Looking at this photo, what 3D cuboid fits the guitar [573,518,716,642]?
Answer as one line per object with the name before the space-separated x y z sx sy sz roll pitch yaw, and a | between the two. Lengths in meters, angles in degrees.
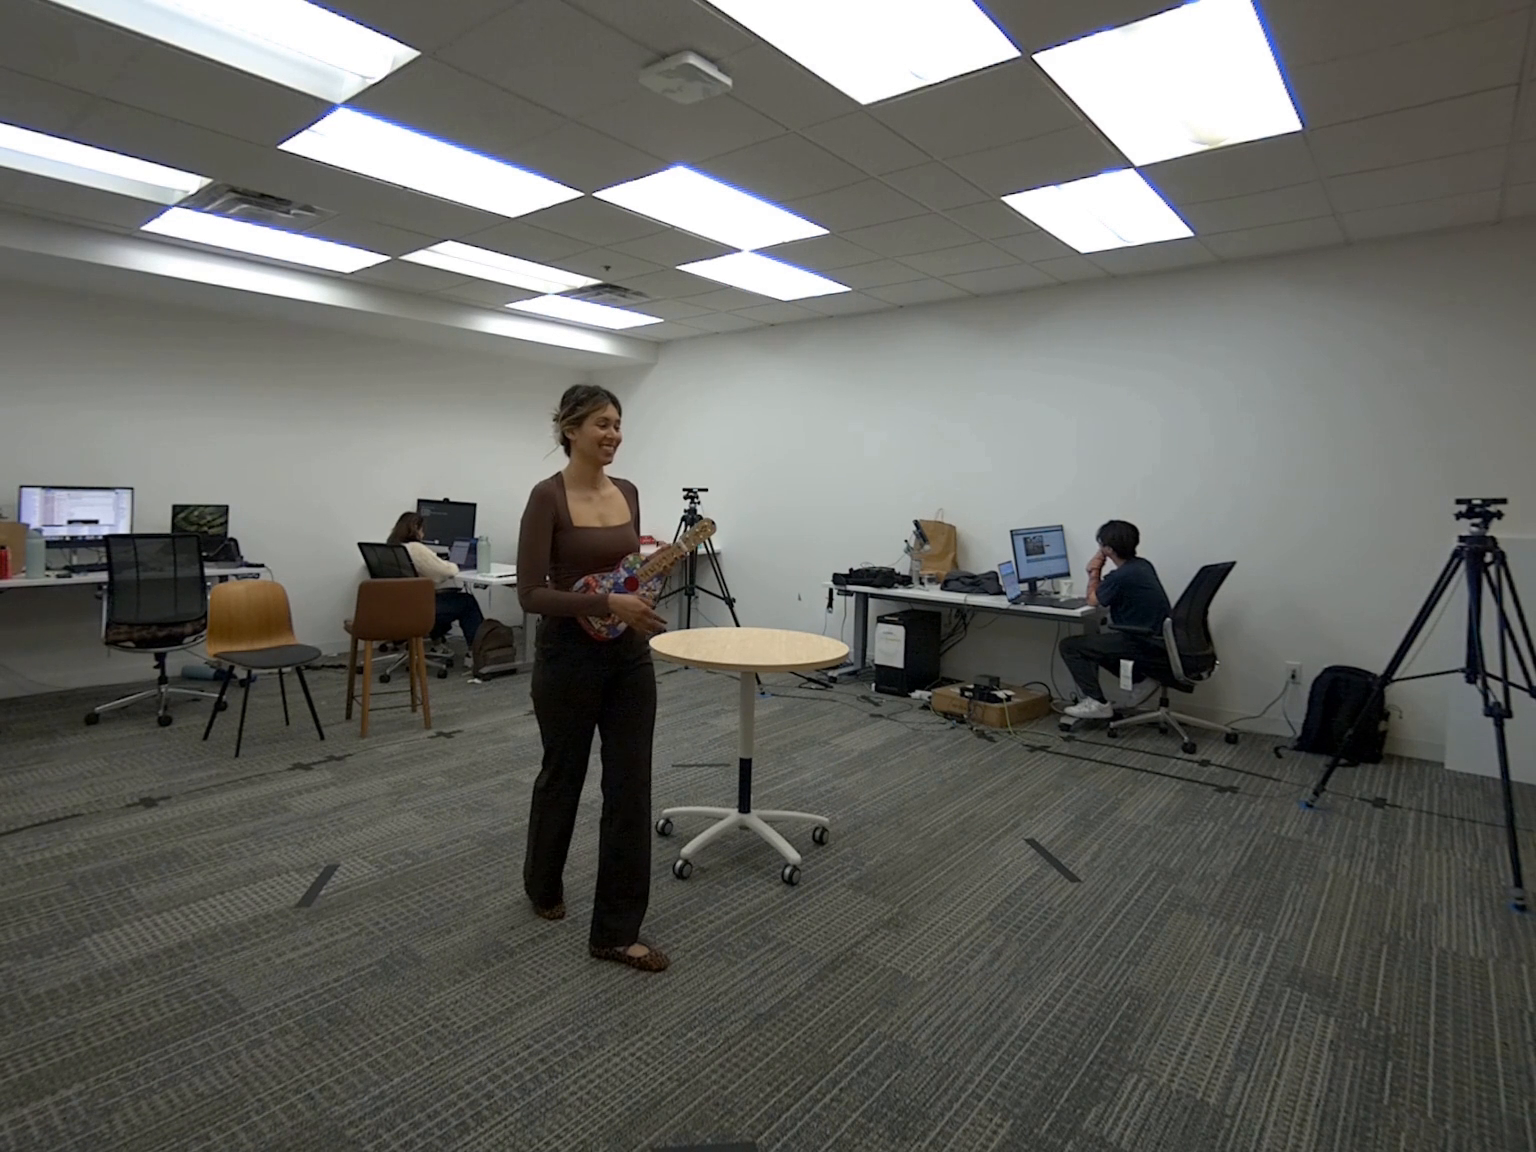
guitar | -0.350 0.010 2.499 0.493 0.194 0.071 -28 -5 -21
